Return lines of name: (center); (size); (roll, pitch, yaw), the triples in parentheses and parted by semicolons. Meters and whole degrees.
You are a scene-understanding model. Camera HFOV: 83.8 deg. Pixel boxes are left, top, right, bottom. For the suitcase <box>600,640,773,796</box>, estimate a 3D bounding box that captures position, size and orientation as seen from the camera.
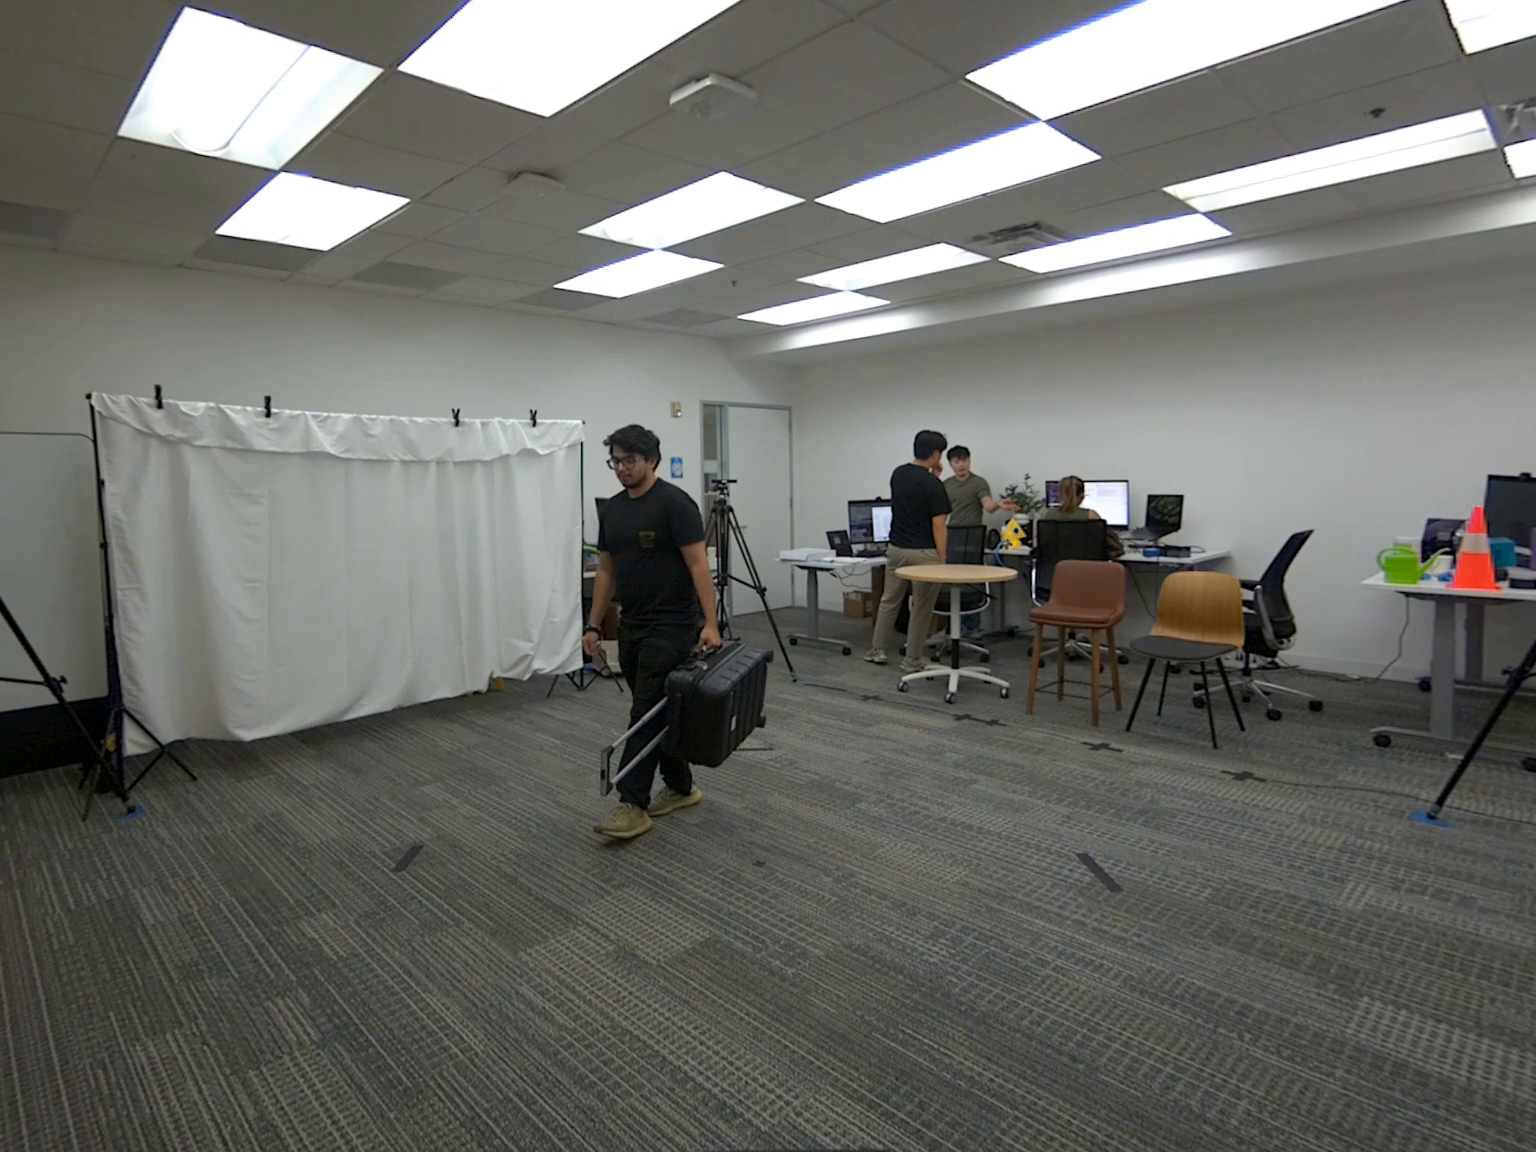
suitcase: (-0.257, 0.531, 3.149); (0.262, 0.379, 0.971); (10, 16, 17)
